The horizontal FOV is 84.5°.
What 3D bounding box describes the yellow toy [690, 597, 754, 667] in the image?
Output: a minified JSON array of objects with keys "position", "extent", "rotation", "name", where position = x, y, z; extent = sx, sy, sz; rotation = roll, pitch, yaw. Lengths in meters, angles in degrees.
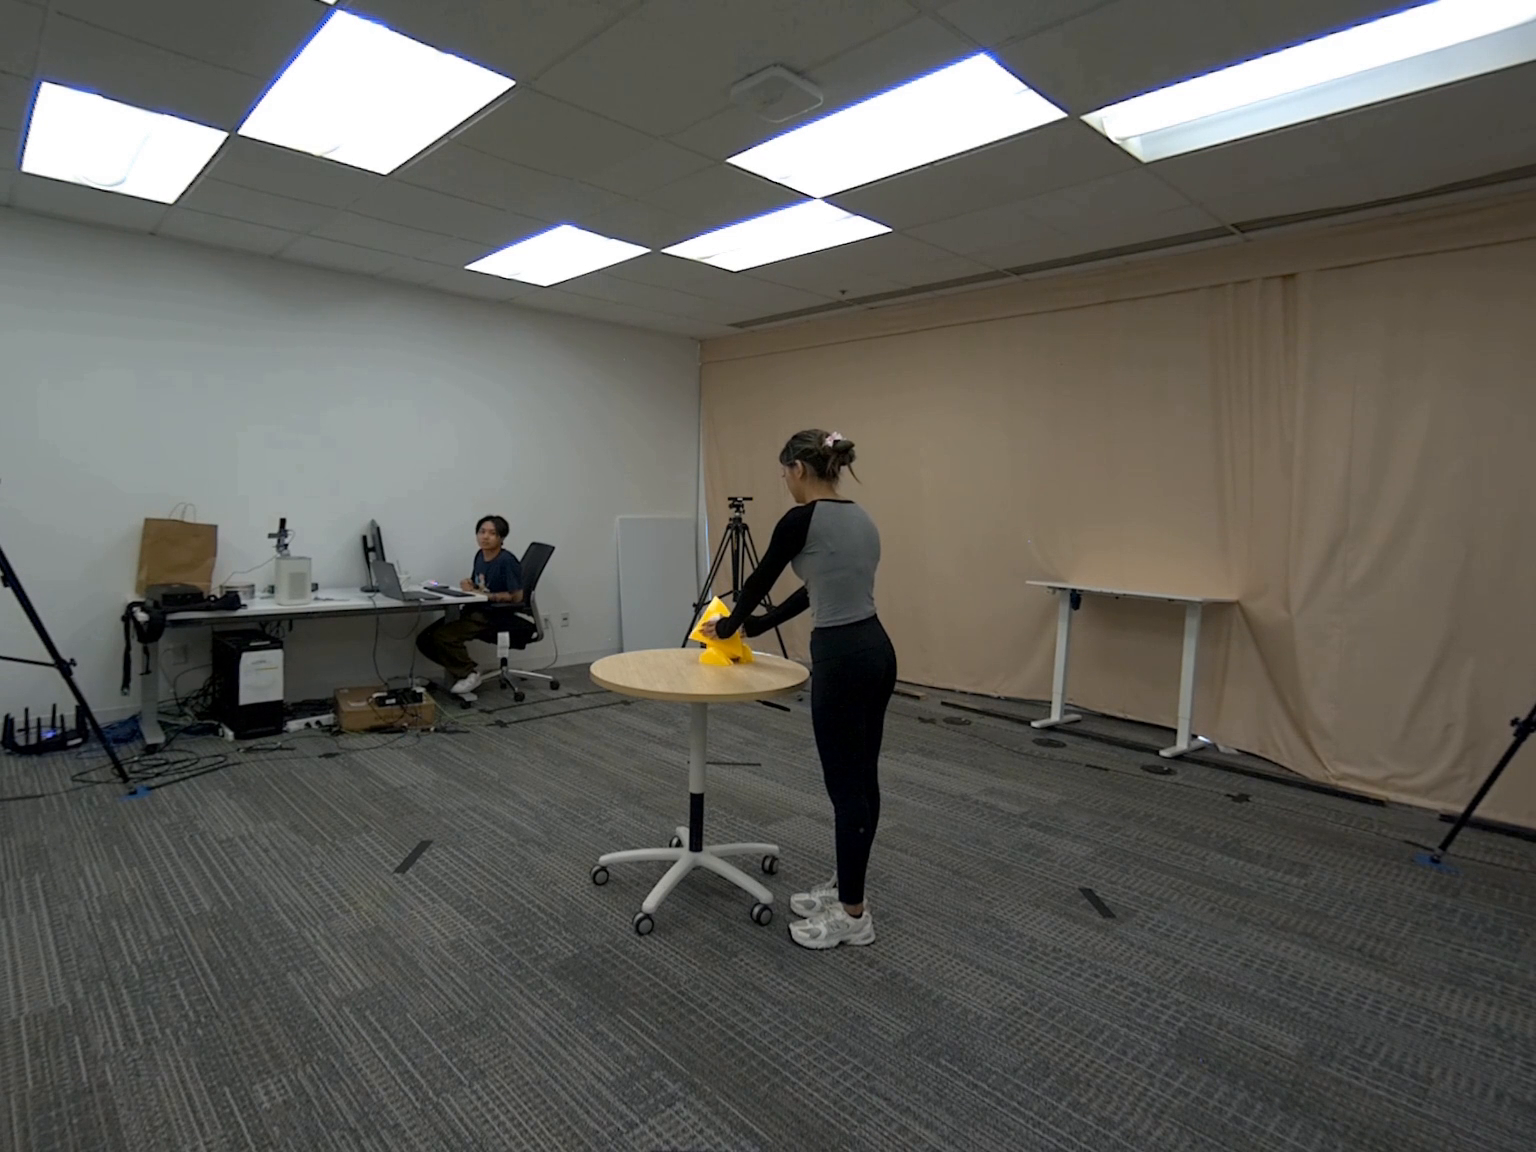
[{"position":[-0.161,0.198,3.110],"extent":[0.198,0.230,0.200],"rotation":[6,5,44],"name":"yellow toy"}]
